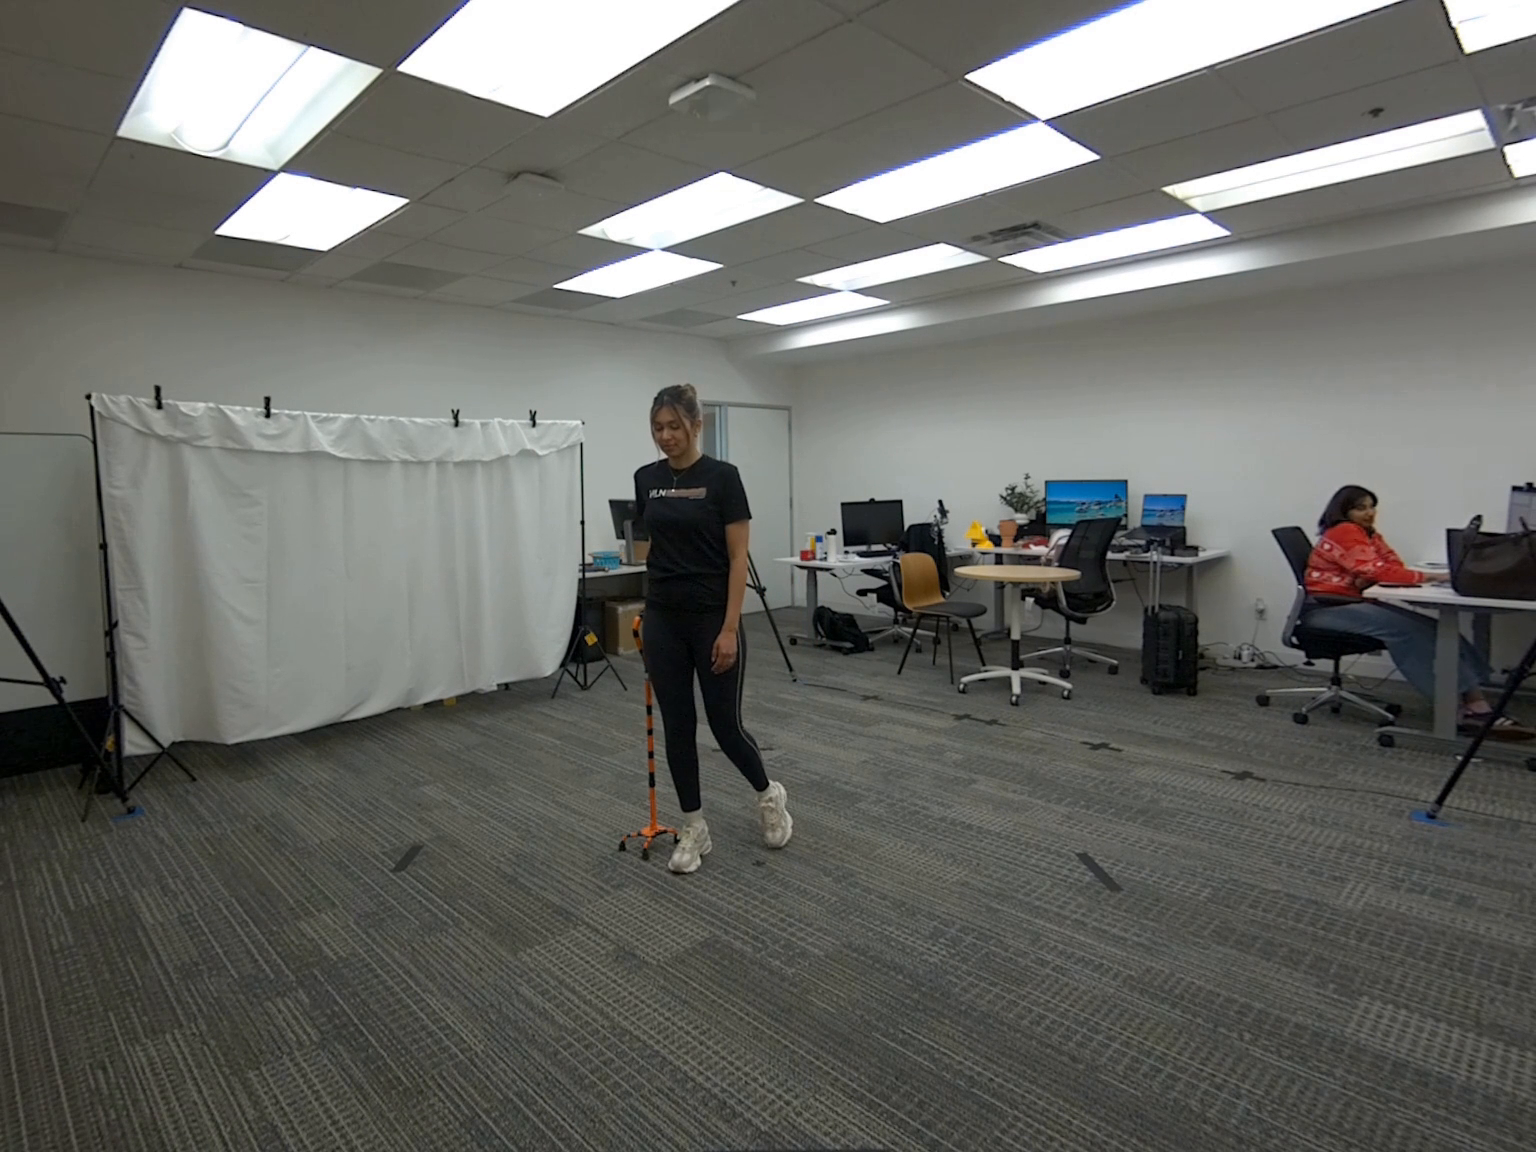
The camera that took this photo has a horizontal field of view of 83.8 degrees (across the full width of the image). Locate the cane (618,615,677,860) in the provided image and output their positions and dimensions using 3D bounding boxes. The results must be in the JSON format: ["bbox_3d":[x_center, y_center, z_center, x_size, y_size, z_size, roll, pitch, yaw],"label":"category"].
[{"bbox_3d":[-0.470,0.583,3.251,0.156,0.905,0.202,0,4,32],"label":"cane"}]
